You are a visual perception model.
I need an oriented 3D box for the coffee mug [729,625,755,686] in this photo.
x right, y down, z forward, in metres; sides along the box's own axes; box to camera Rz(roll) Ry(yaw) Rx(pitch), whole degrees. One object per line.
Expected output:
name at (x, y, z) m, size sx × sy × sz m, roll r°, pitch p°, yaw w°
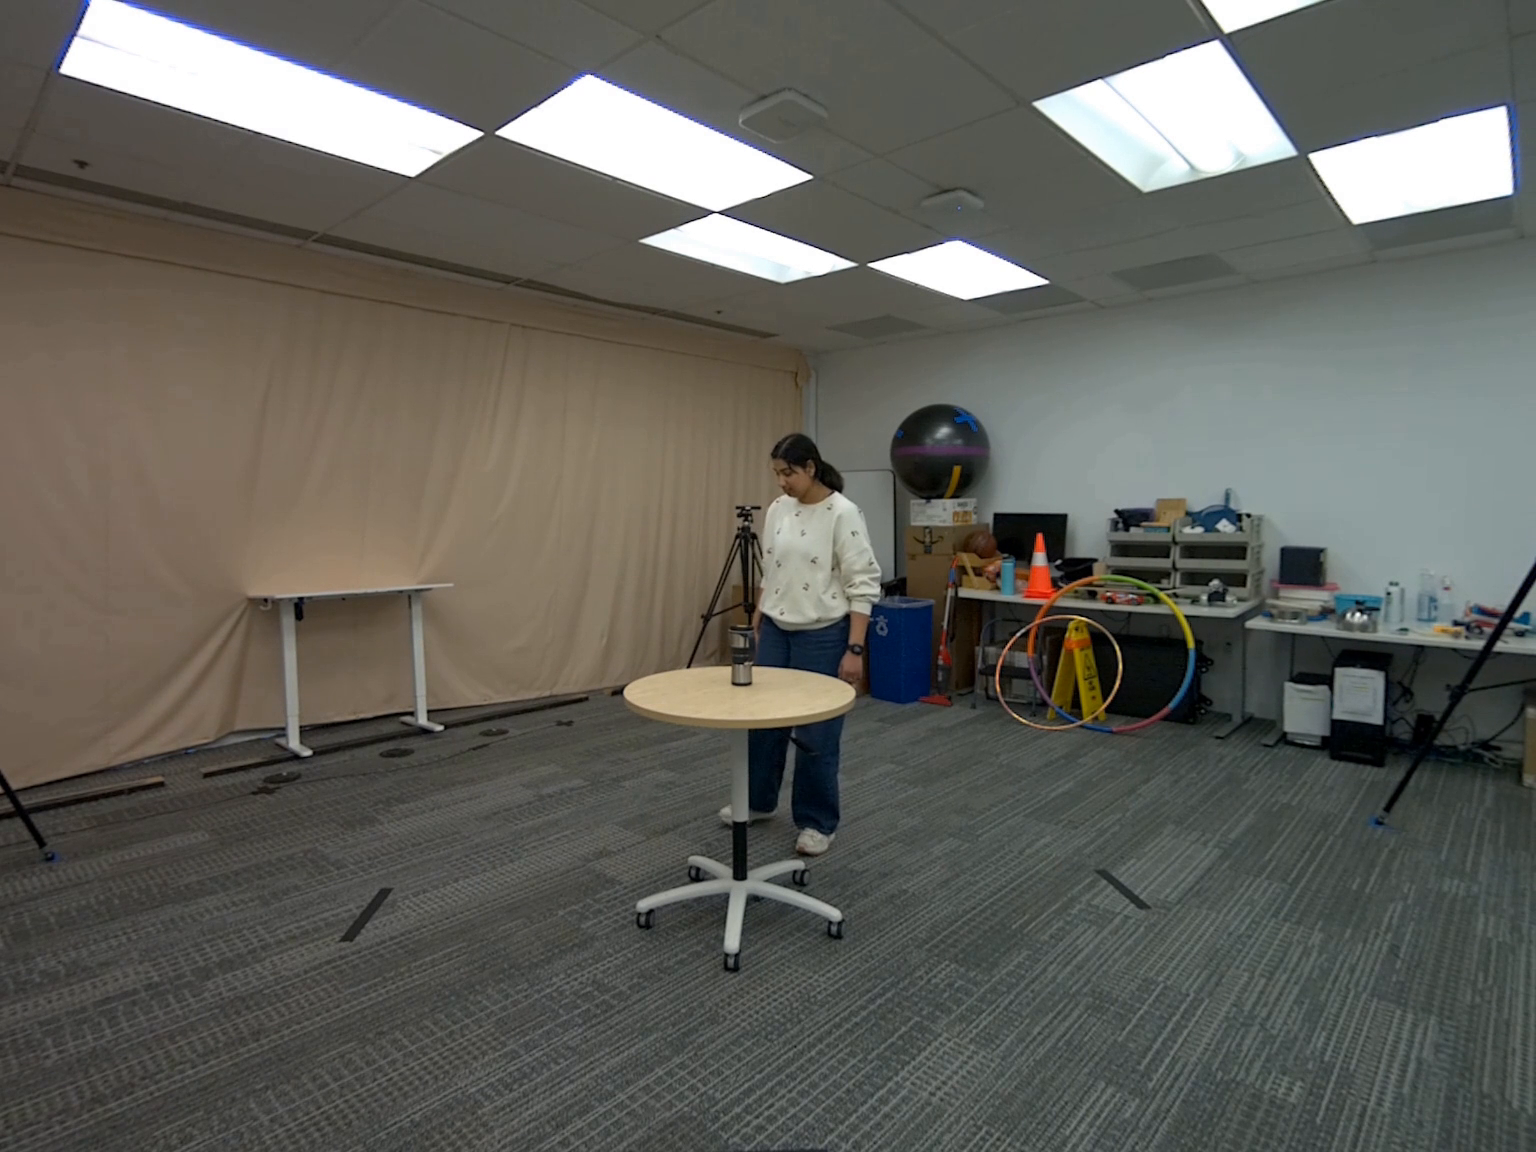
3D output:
coffee mug at (-0.101, 0.273, 2.854) m, size 0.090 × 0.203 × 0.118 m, roll 4°, pitch 1°, yaw 30°
